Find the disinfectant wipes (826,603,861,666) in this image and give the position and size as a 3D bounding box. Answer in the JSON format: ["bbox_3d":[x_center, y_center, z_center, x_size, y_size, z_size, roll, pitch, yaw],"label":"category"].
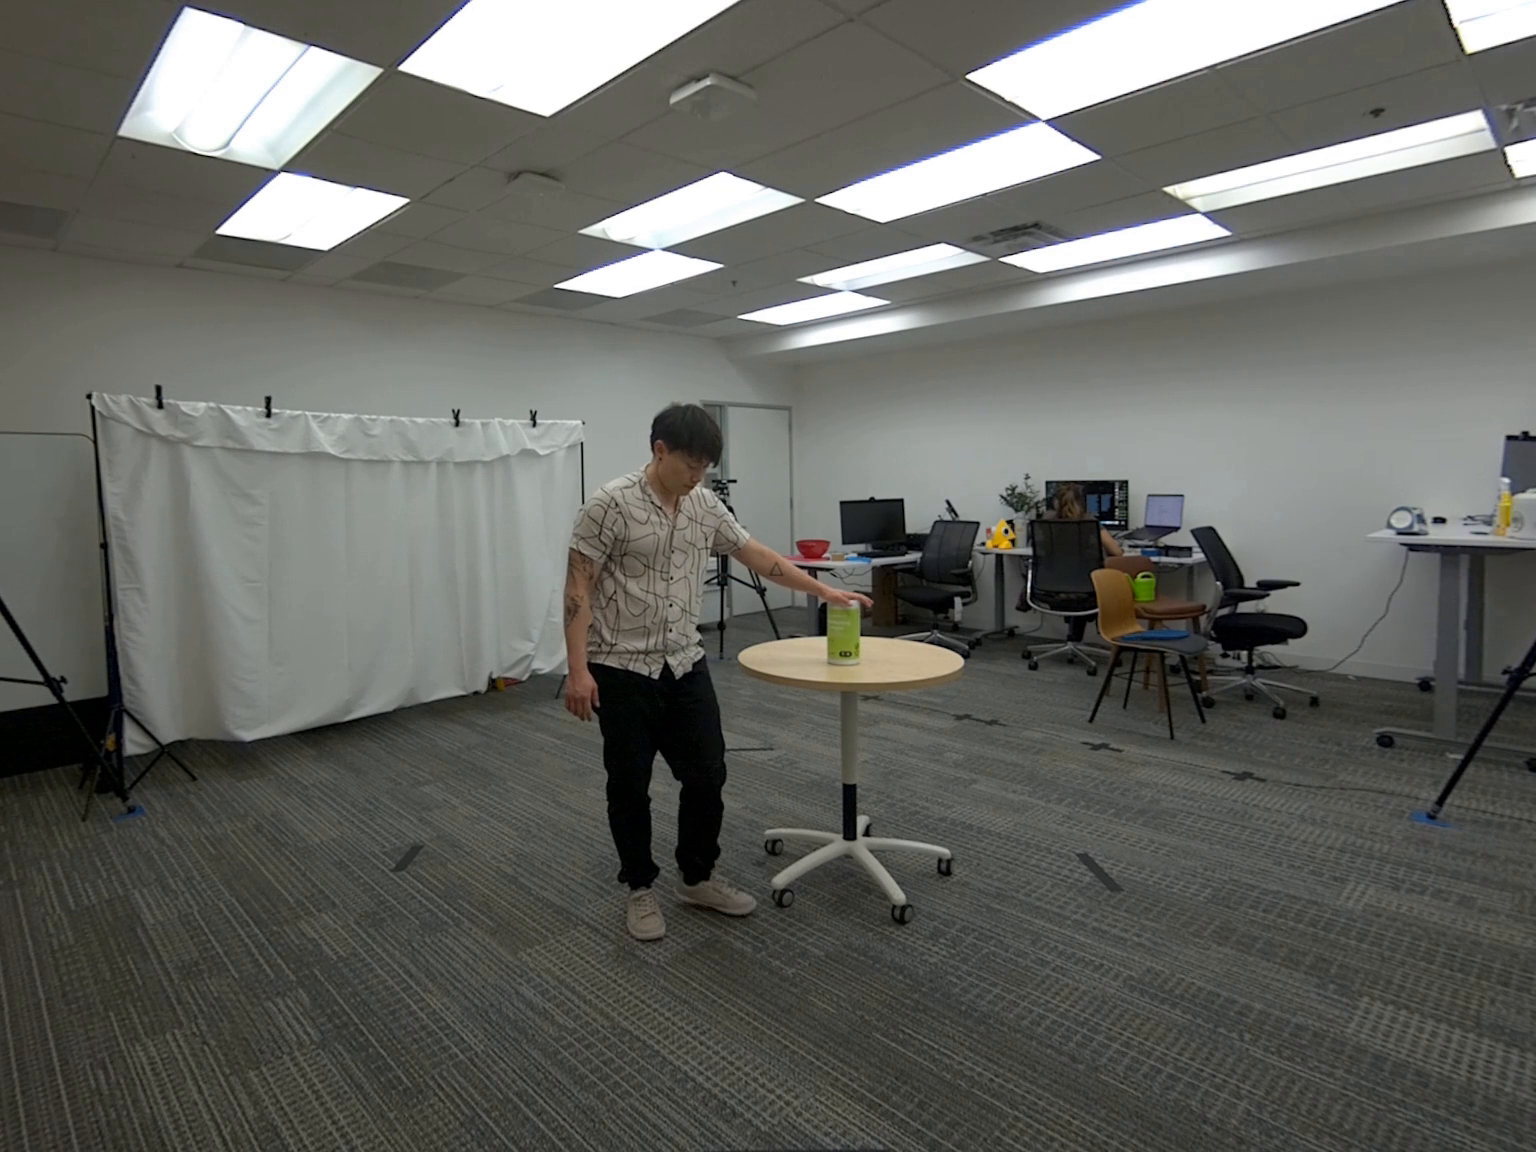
[{"bbox_3d":[0.252,0.184,2.845,0.118,0.216,0.118,-3,6,-1],"label":"disinfectant wipes"}]
